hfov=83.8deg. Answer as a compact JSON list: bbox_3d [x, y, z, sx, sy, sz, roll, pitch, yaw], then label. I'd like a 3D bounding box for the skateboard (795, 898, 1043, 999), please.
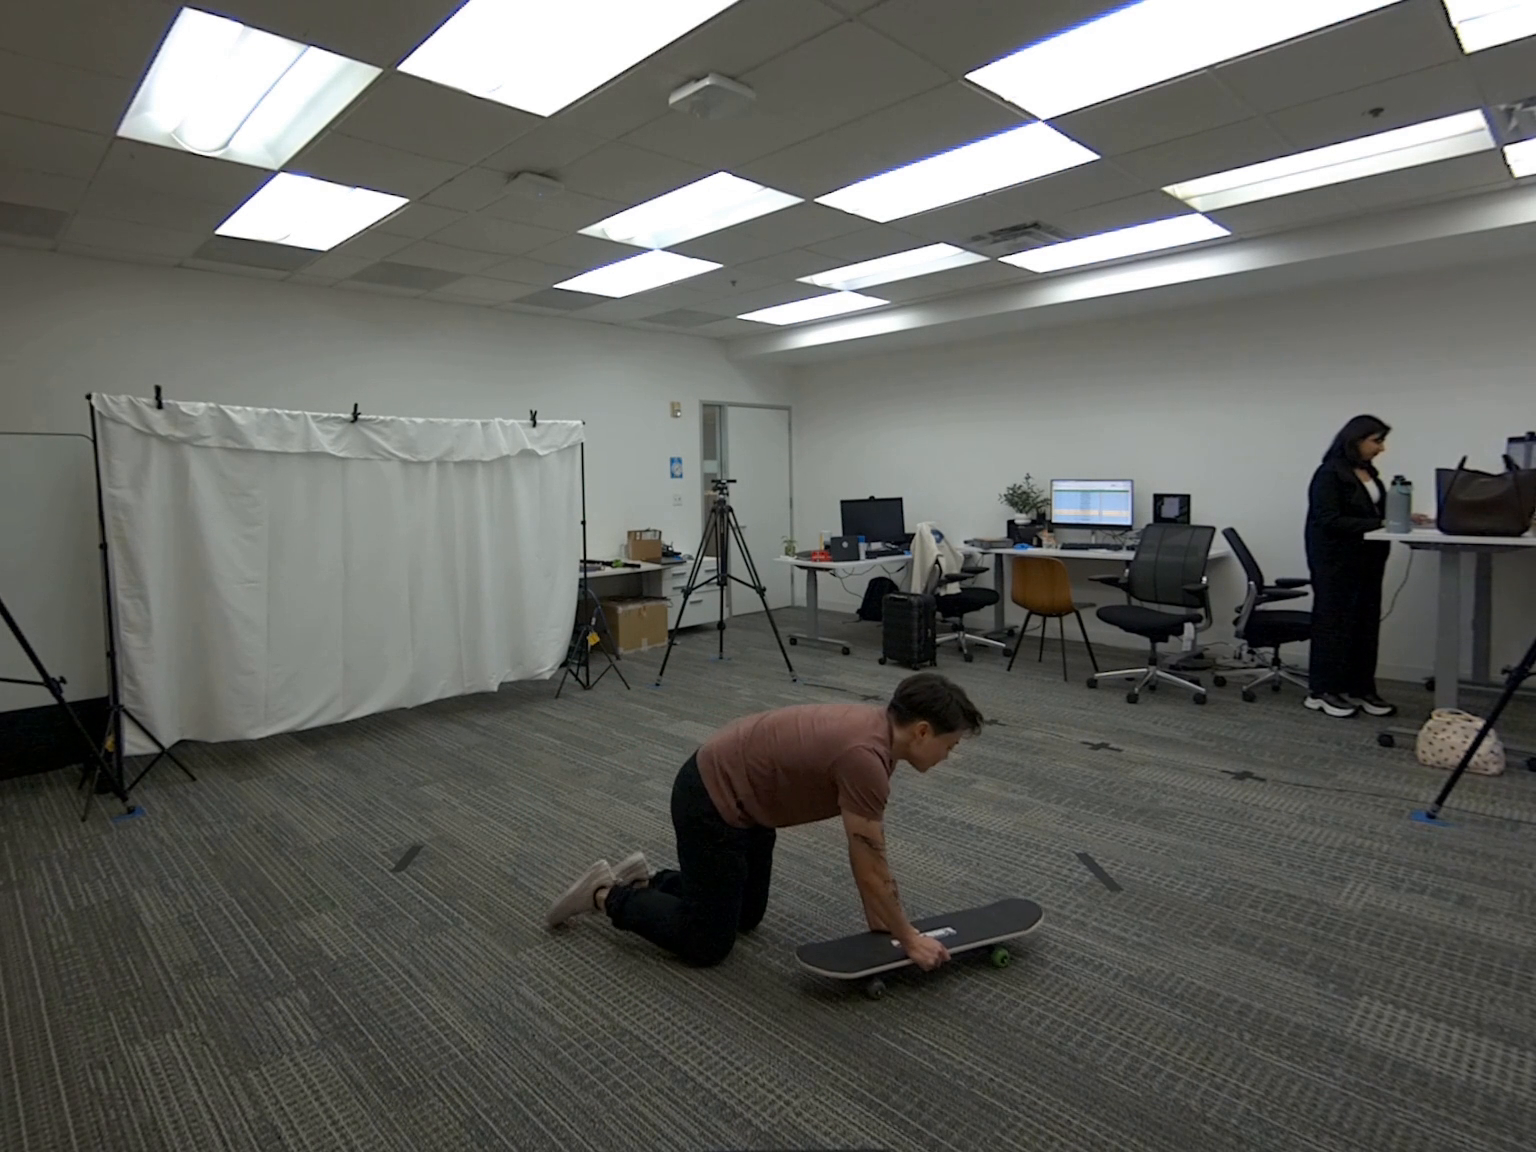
[{"bbox_3d":[0.444,1.052,2.438,0.772,0.110,0.197,-4,2,-19],"label":"skateboard"}]
